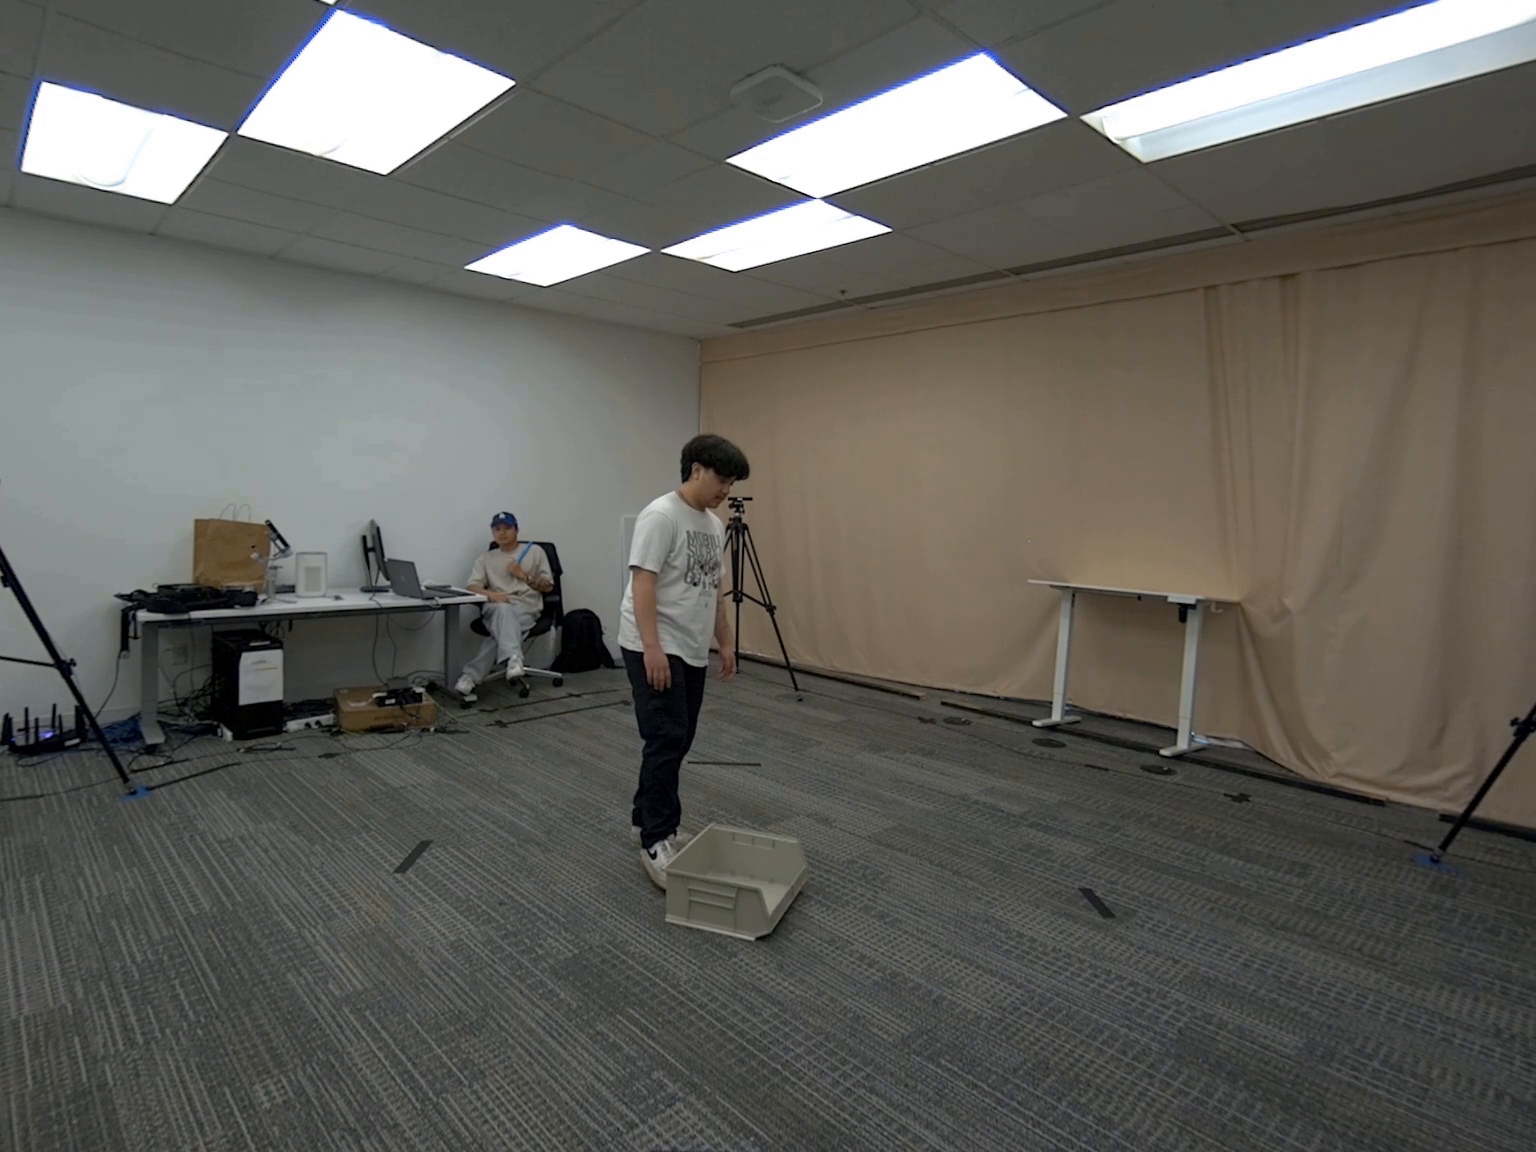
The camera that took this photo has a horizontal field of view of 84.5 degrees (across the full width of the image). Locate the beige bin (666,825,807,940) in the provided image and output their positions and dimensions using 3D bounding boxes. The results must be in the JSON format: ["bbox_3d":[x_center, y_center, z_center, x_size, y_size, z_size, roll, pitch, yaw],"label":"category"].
[{"bbox_3d":[-0.106,1.043,2.879,0.383,0.188,0.417,2,5,19],"label":"beige bin"}]
